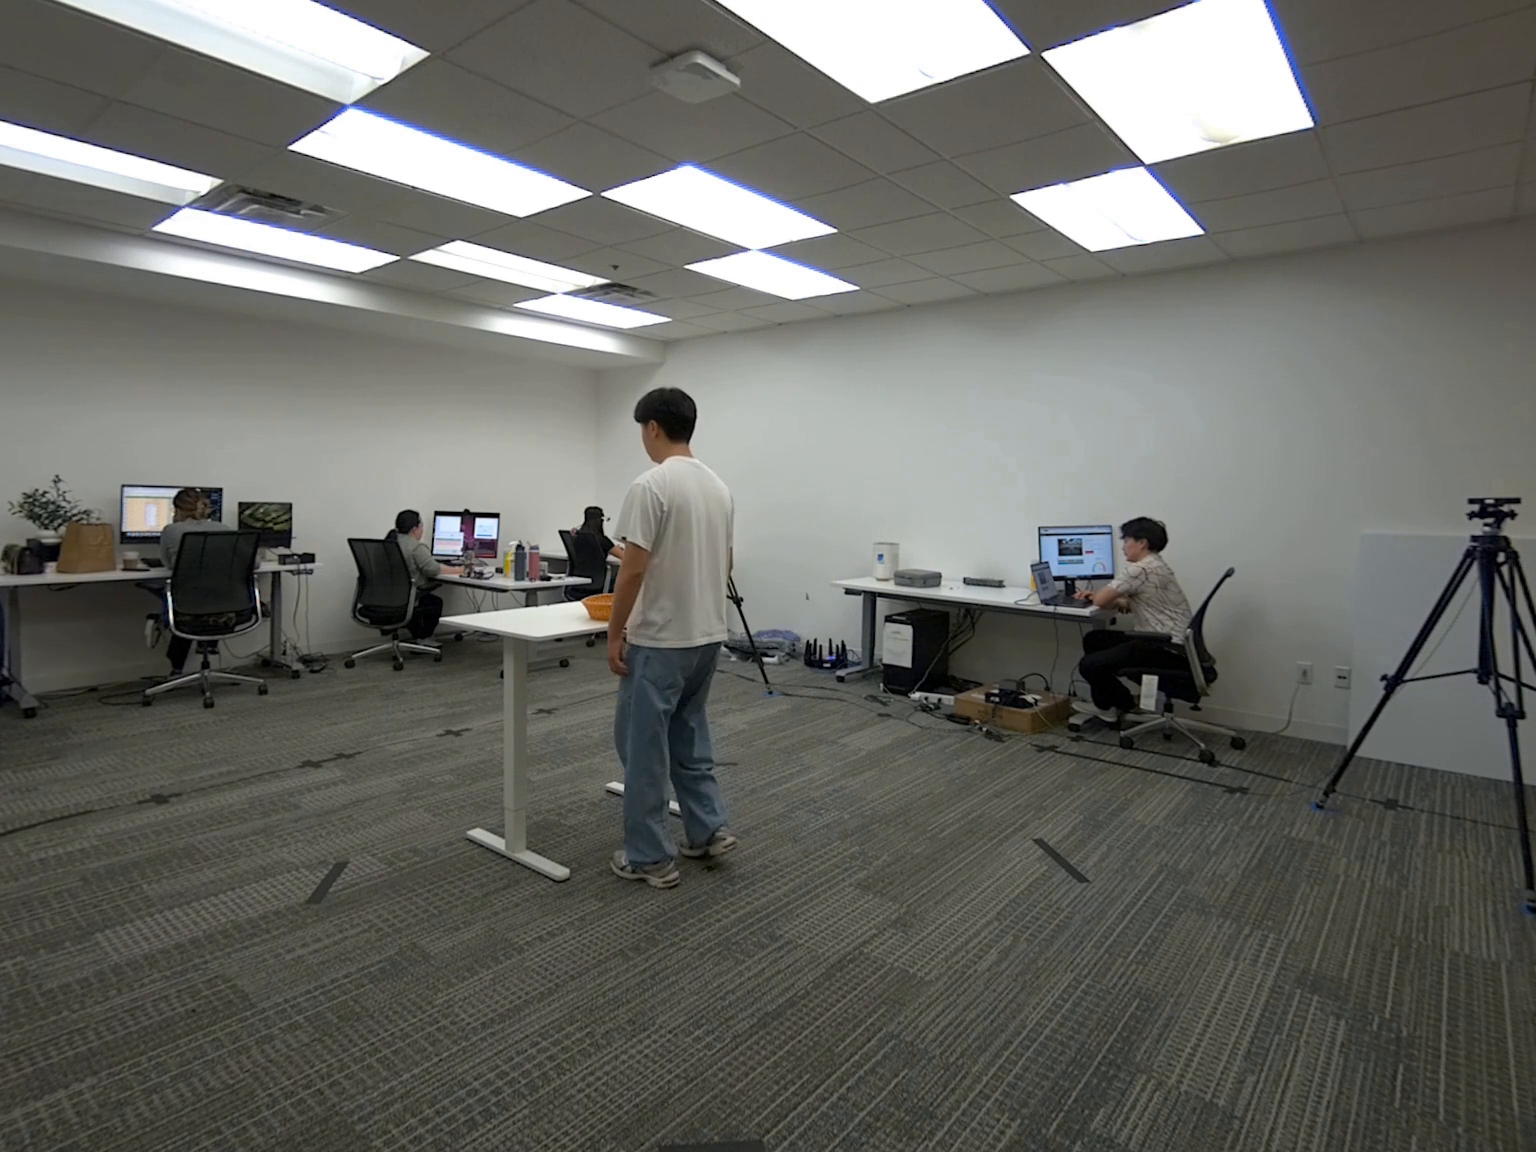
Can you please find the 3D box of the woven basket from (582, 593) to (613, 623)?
[{"bbox_3d":[-0.619,0.123,3.335,0.257,0.073,0.345,3,6,16],"label":"woven basket"}]
